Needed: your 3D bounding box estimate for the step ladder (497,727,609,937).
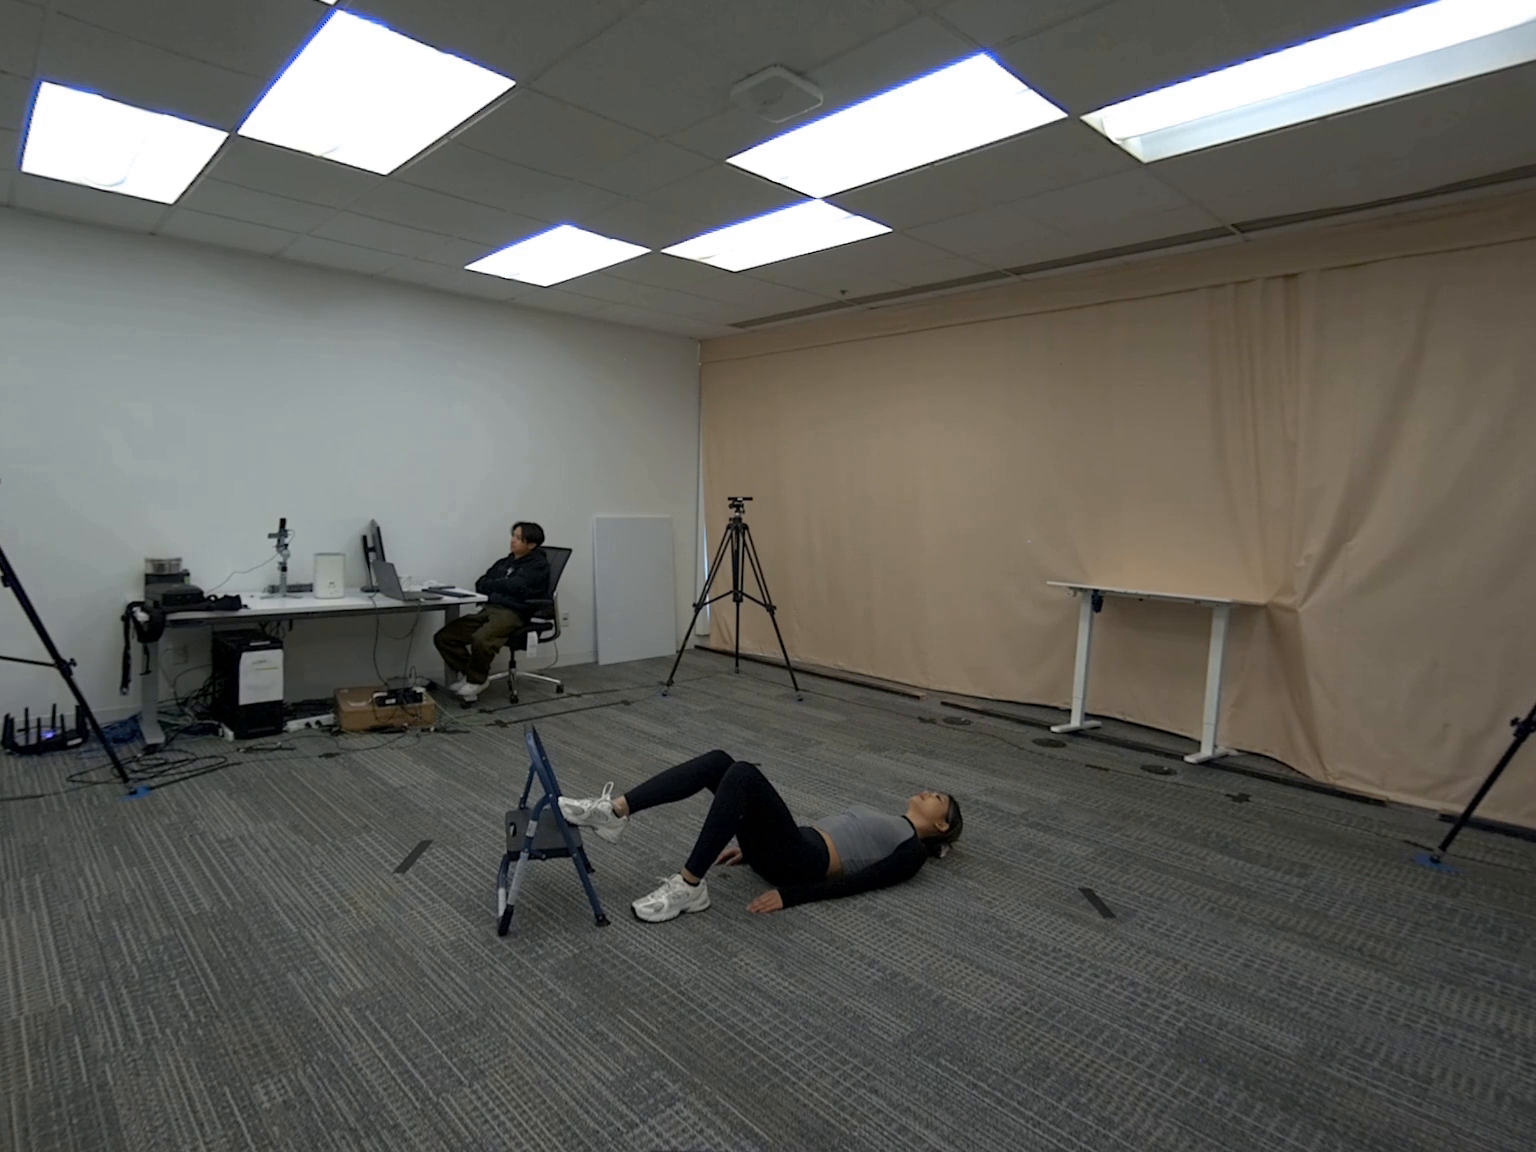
[{"bbox_3d":[-0.744,0.817,2.861,0.344,0.605,0.438,1,4,-19],"label":"step ladder"}]
